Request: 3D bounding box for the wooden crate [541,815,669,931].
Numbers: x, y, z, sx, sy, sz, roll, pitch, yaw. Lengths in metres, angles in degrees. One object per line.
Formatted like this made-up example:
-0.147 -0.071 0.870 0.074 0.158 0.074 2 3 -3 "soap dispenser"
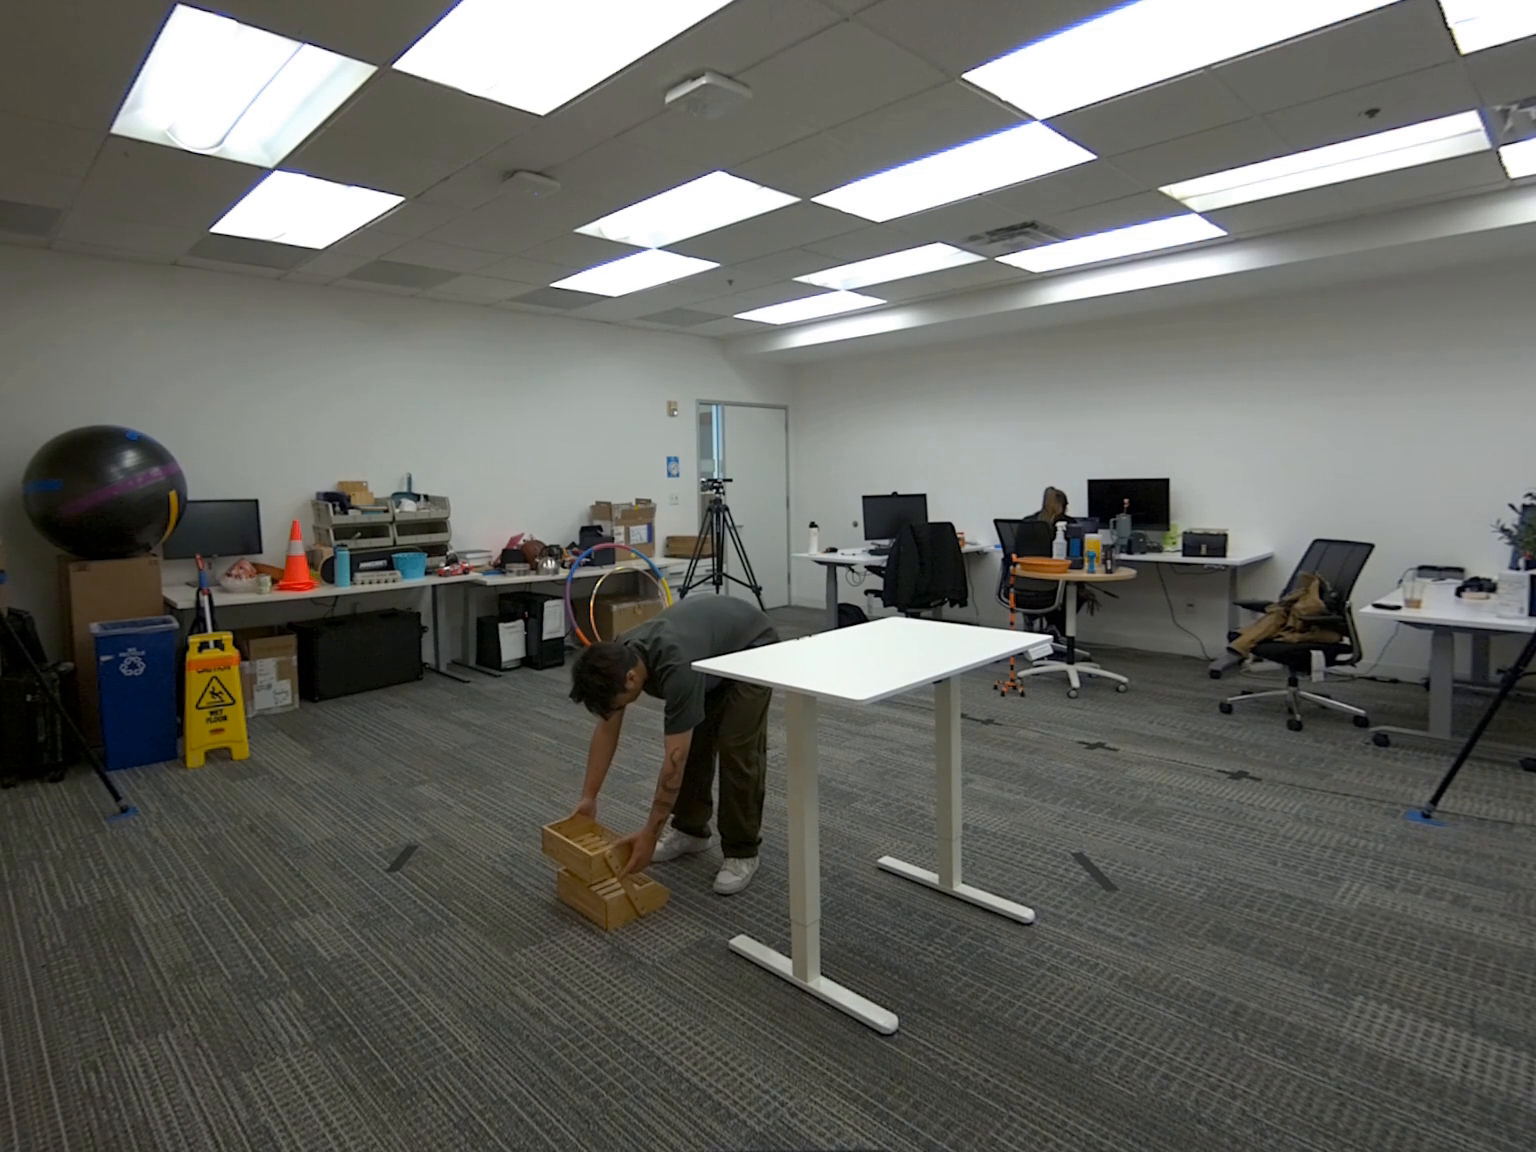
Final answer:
-0.534 0.954 2.824 0.294 0.272 0.334 -7 9 -43 "wooden crate"
